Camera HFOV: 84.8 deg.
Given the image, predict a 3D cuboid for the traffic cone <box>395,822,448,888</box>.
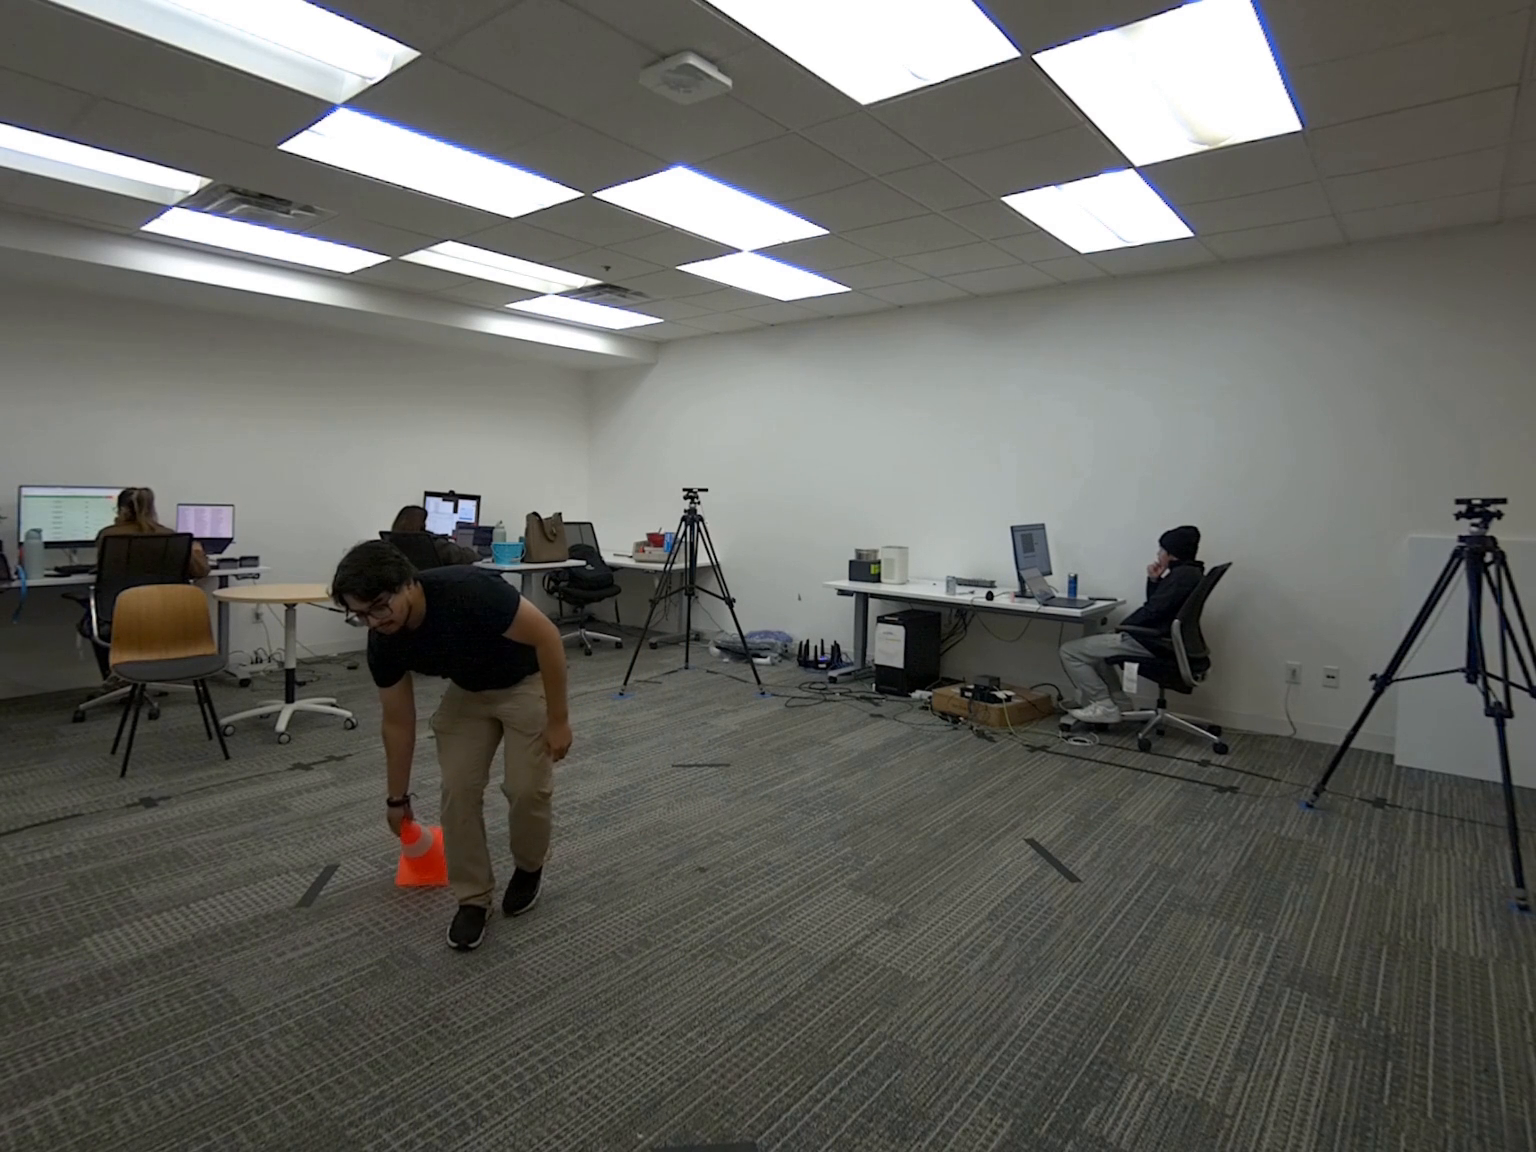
[{"bbox_3d":[-1.195,0.884,2.860,0.202,0.212,0.374,-8,-34,-9],"label":"traffic cone"}]
